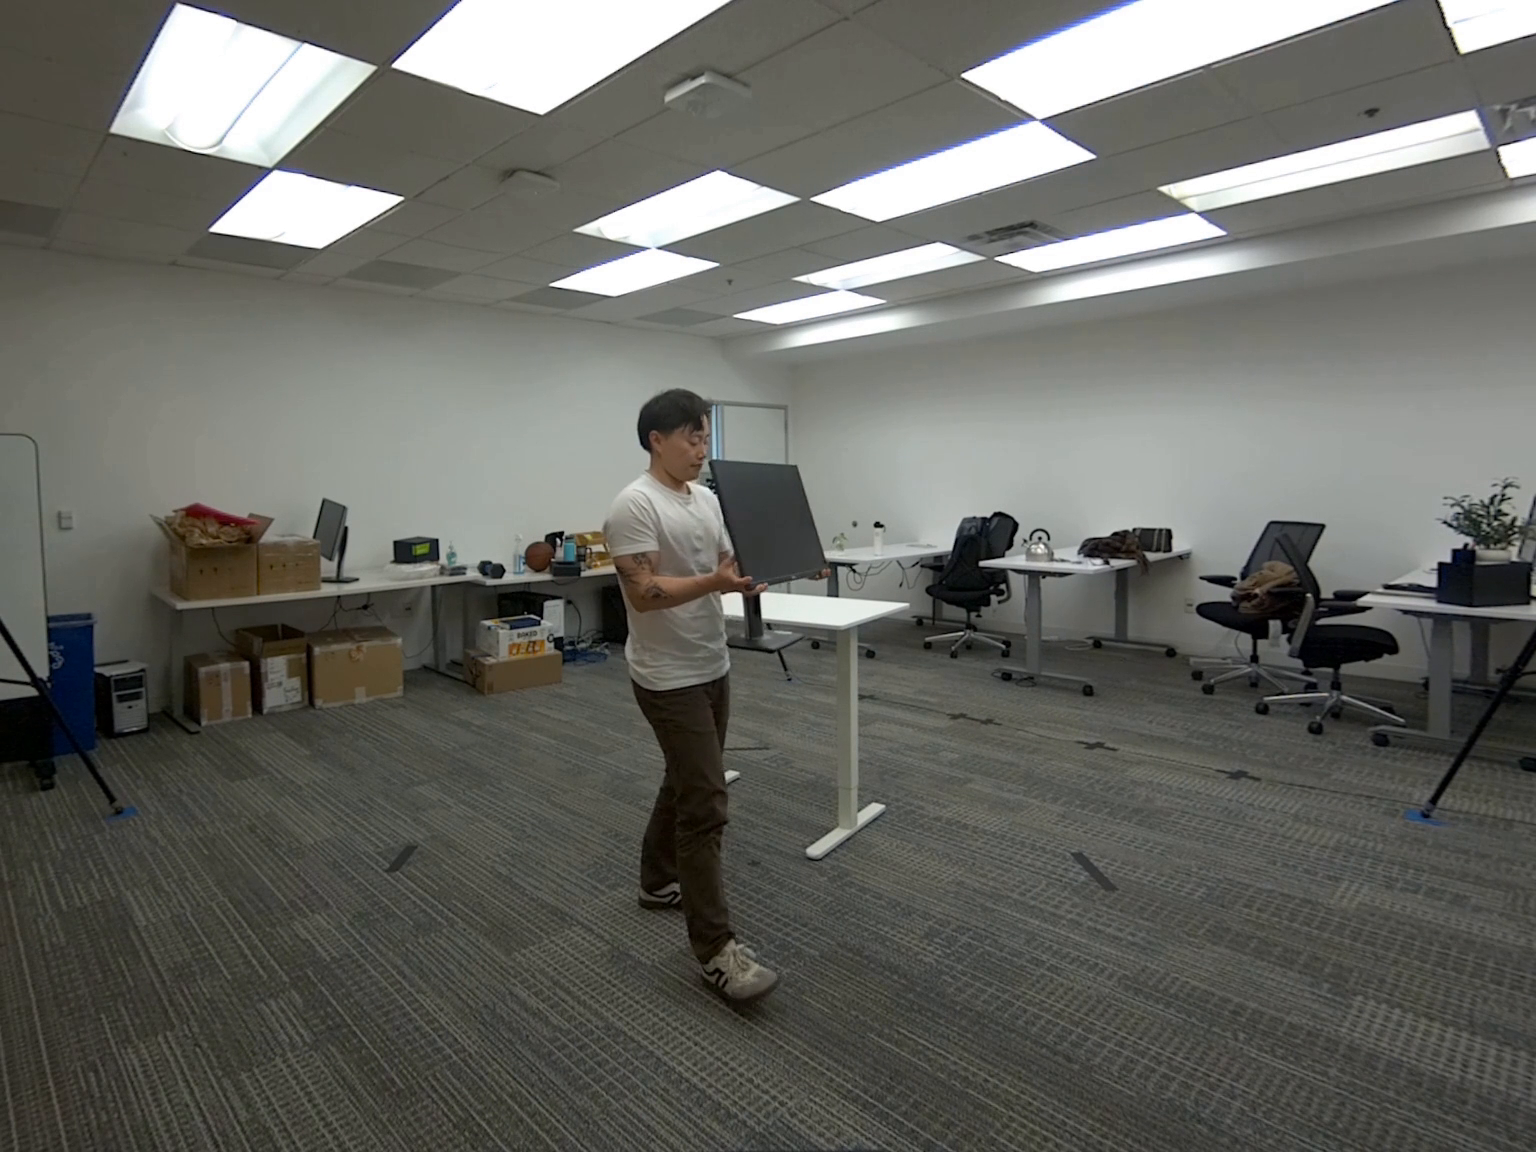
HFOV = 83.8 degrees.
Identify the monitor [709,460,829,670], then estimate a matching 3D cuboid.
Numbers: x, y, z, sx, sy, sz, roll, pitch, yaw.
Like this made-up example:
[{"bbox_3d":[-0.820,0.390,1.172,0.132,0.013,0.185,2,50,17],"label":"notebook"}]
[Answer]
[{"bbox_3d":[-0.006,-0.066,2.448,0.191,0.522,0.528,-3,2,25],"label":"monitor"}]
